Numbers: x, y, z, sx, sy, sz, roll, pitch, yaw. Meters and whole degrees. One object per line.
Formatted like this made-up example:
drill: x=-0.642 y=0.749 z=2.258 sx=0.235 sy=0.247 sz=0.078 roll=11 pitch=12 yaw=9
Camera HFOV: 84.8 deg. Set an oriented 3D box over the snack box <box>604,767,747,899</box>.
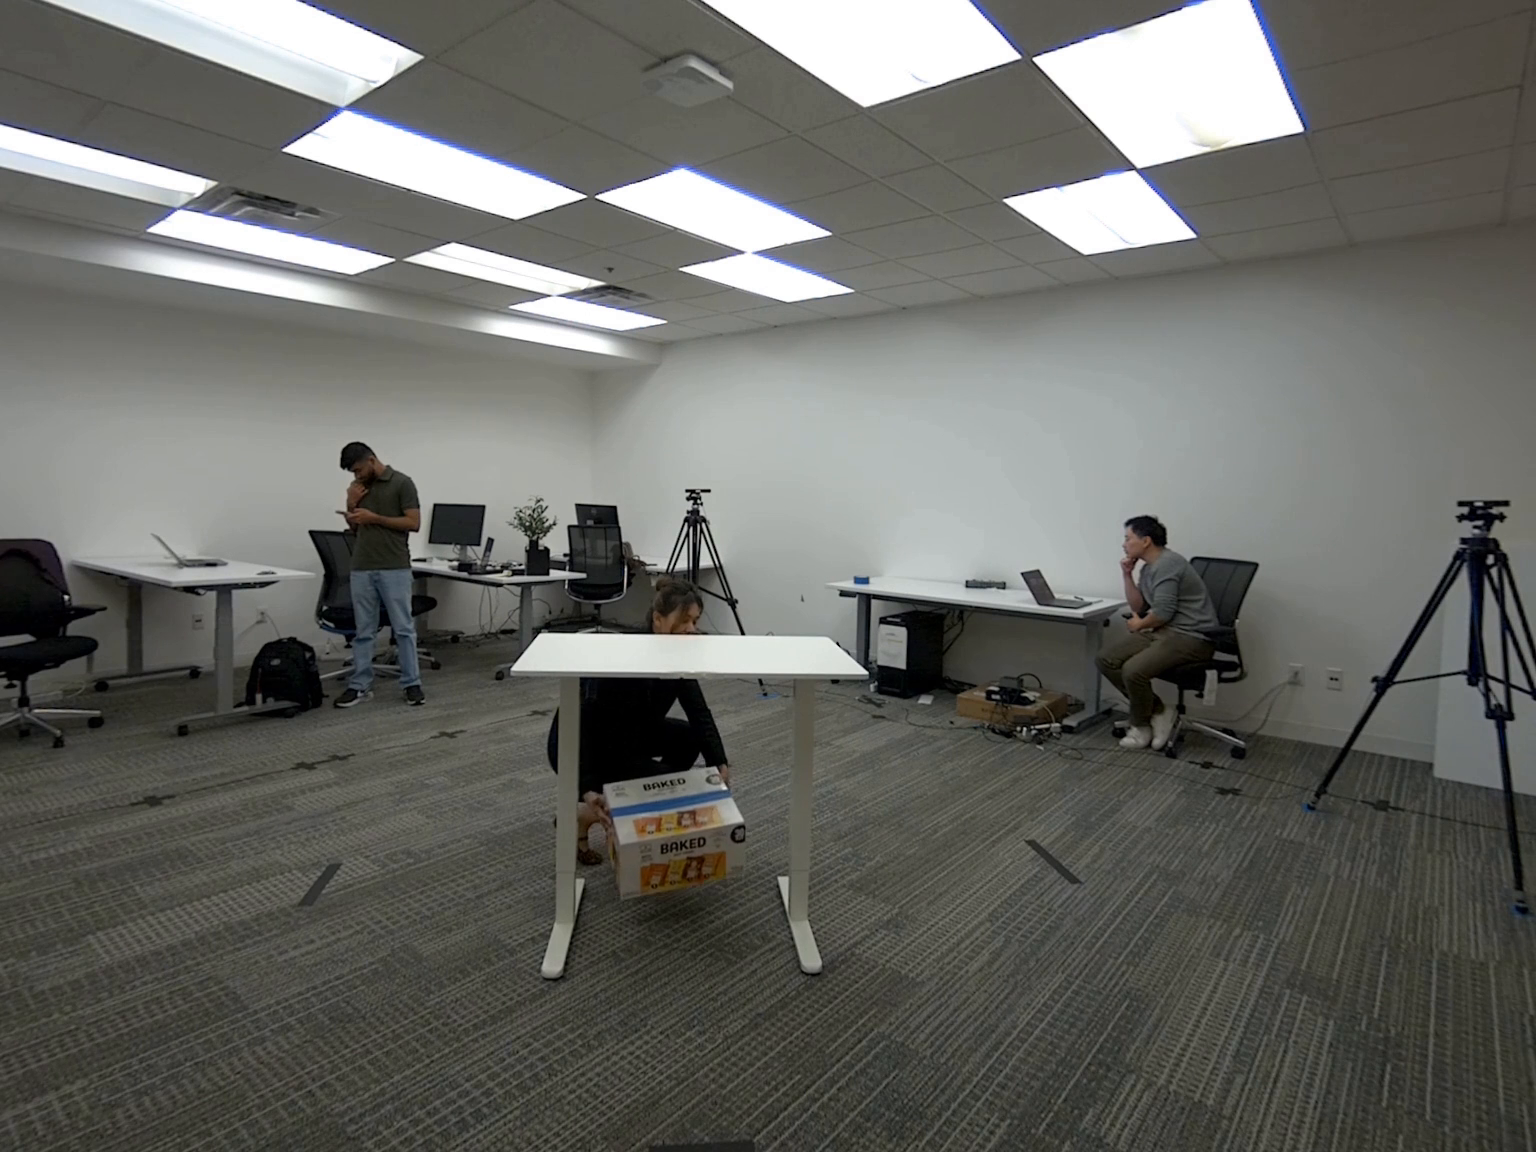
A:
snack box: x=-0.321 y=0.837 z=2.816 sx=0.399 sy=0.202 sz=0.351 roll=-6 pitch=20 yaw=-17
